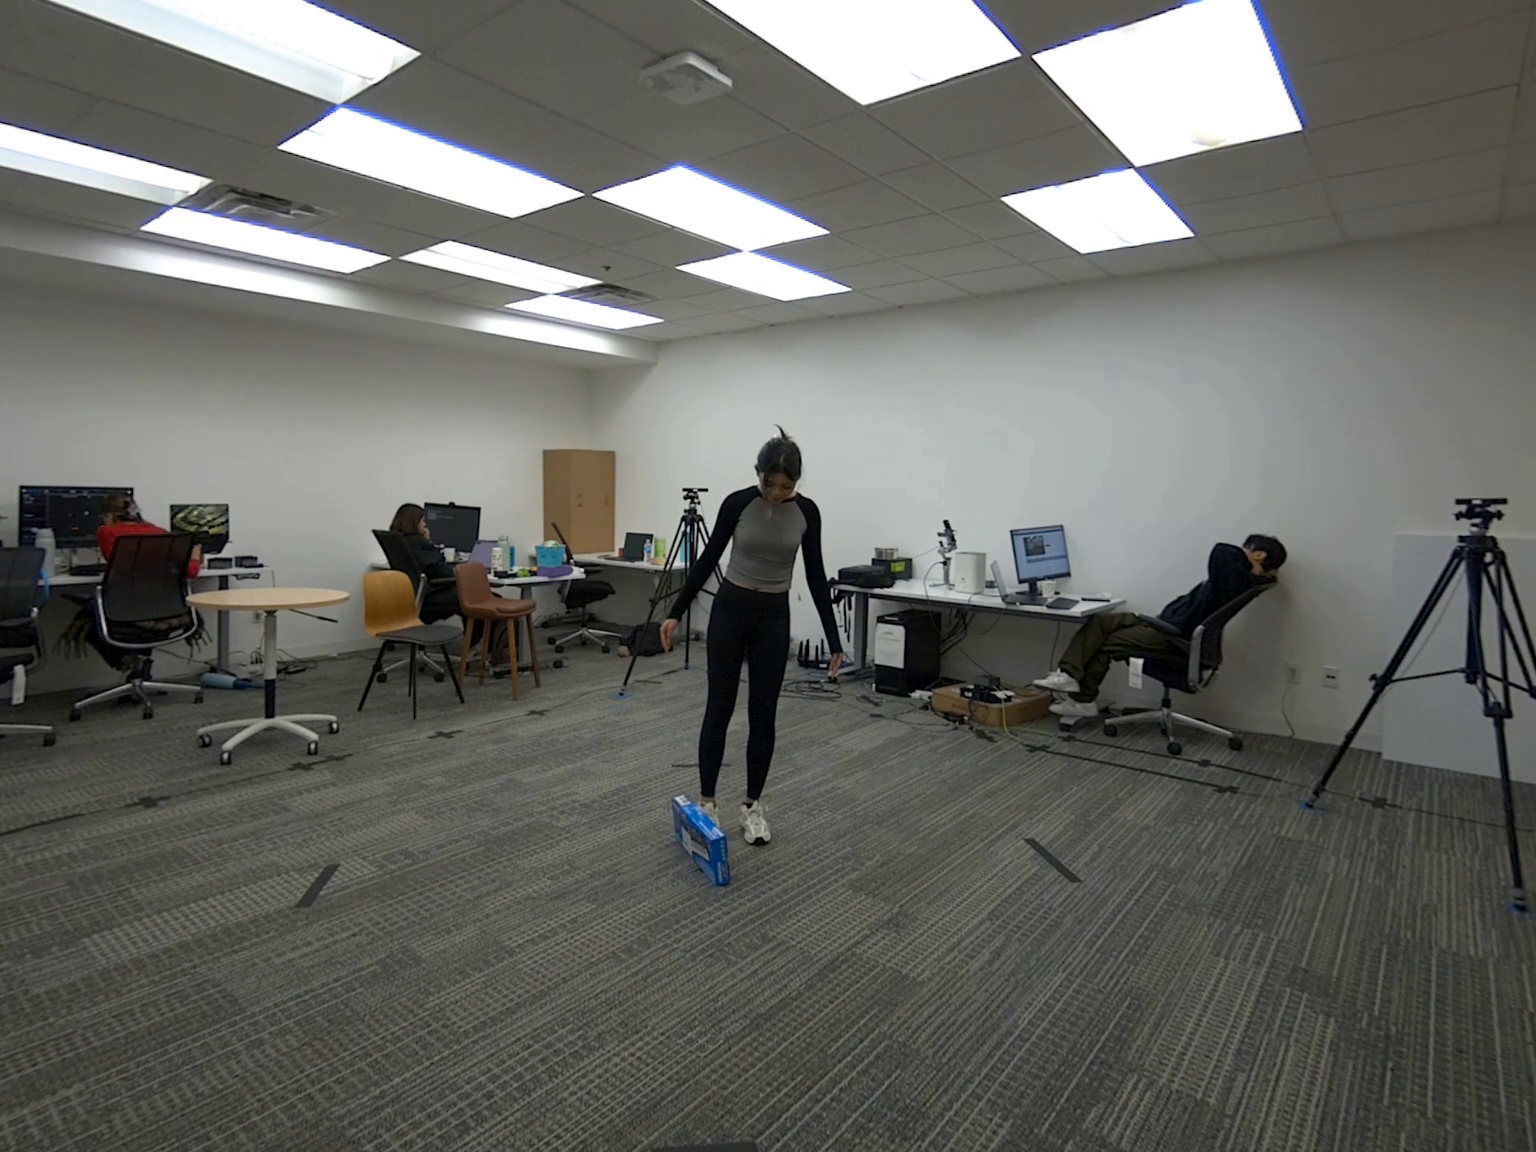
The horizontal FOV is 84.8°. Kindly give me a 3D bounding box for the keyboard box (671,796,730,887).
[{"bbox_3d":[-0.267,0.973,3.173,0.058,0.175,0.448,-7,8,-24],"label":"keyboard box"}]
